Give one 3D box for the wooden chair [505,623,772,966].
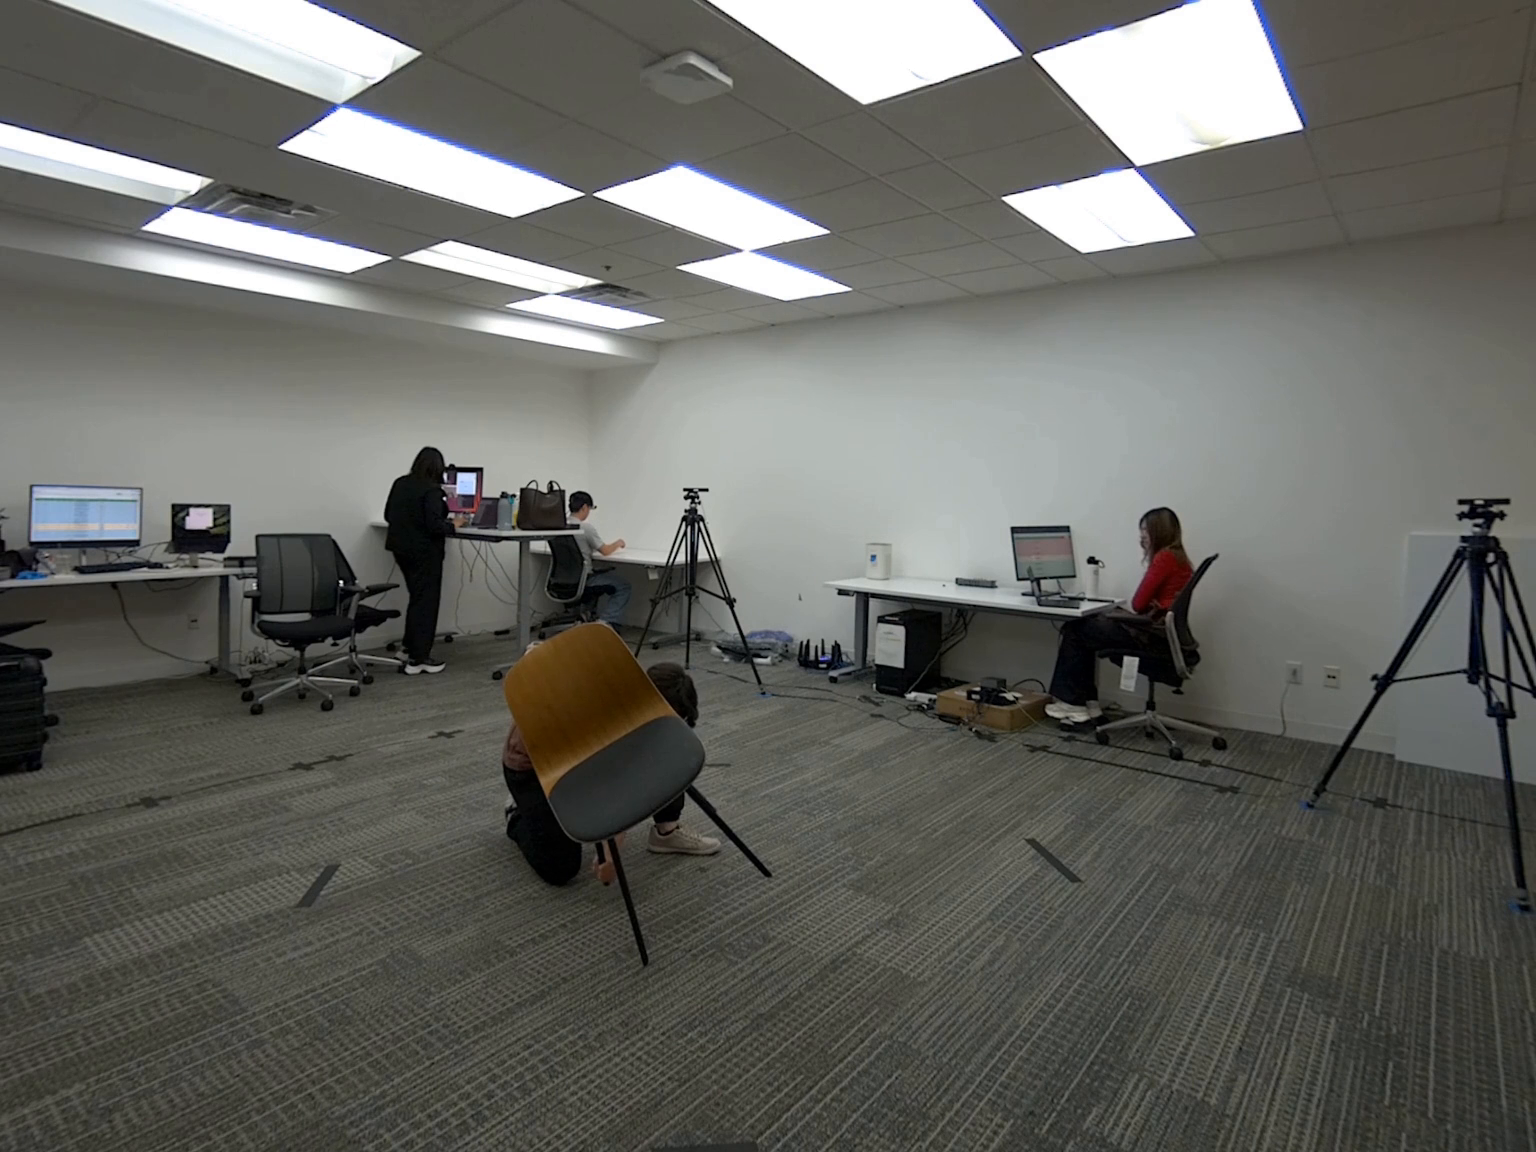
[{"bbox_3d":[-0.438,0.620,2.590,0.474,0.861,0.537,-30,16,-17],"label":"wooden chair"}]
